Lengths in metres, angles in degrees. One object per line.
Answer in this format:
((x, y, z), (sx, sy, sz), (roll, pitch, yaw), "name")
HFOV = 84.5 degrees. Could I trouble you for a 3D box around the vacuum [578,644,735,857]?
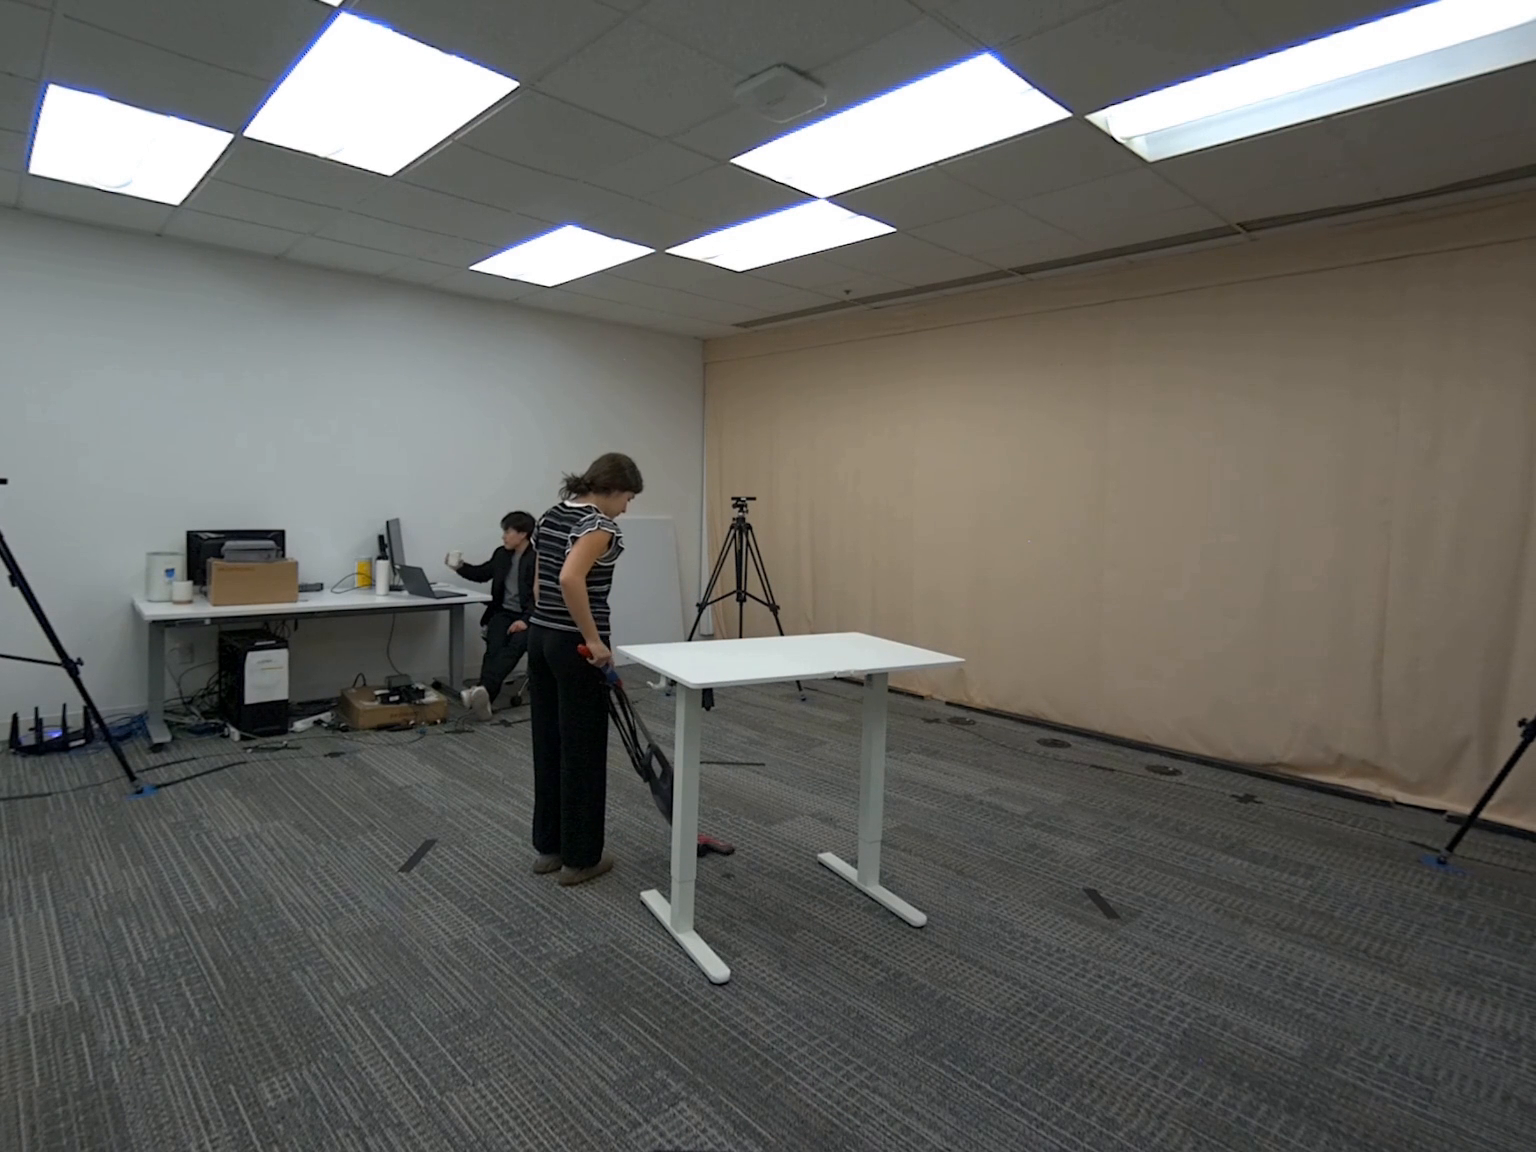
((-0.448, 0.669, 3.123), (0.259, 1.024, 0.144), (2, 37, 40), "vacuum")
